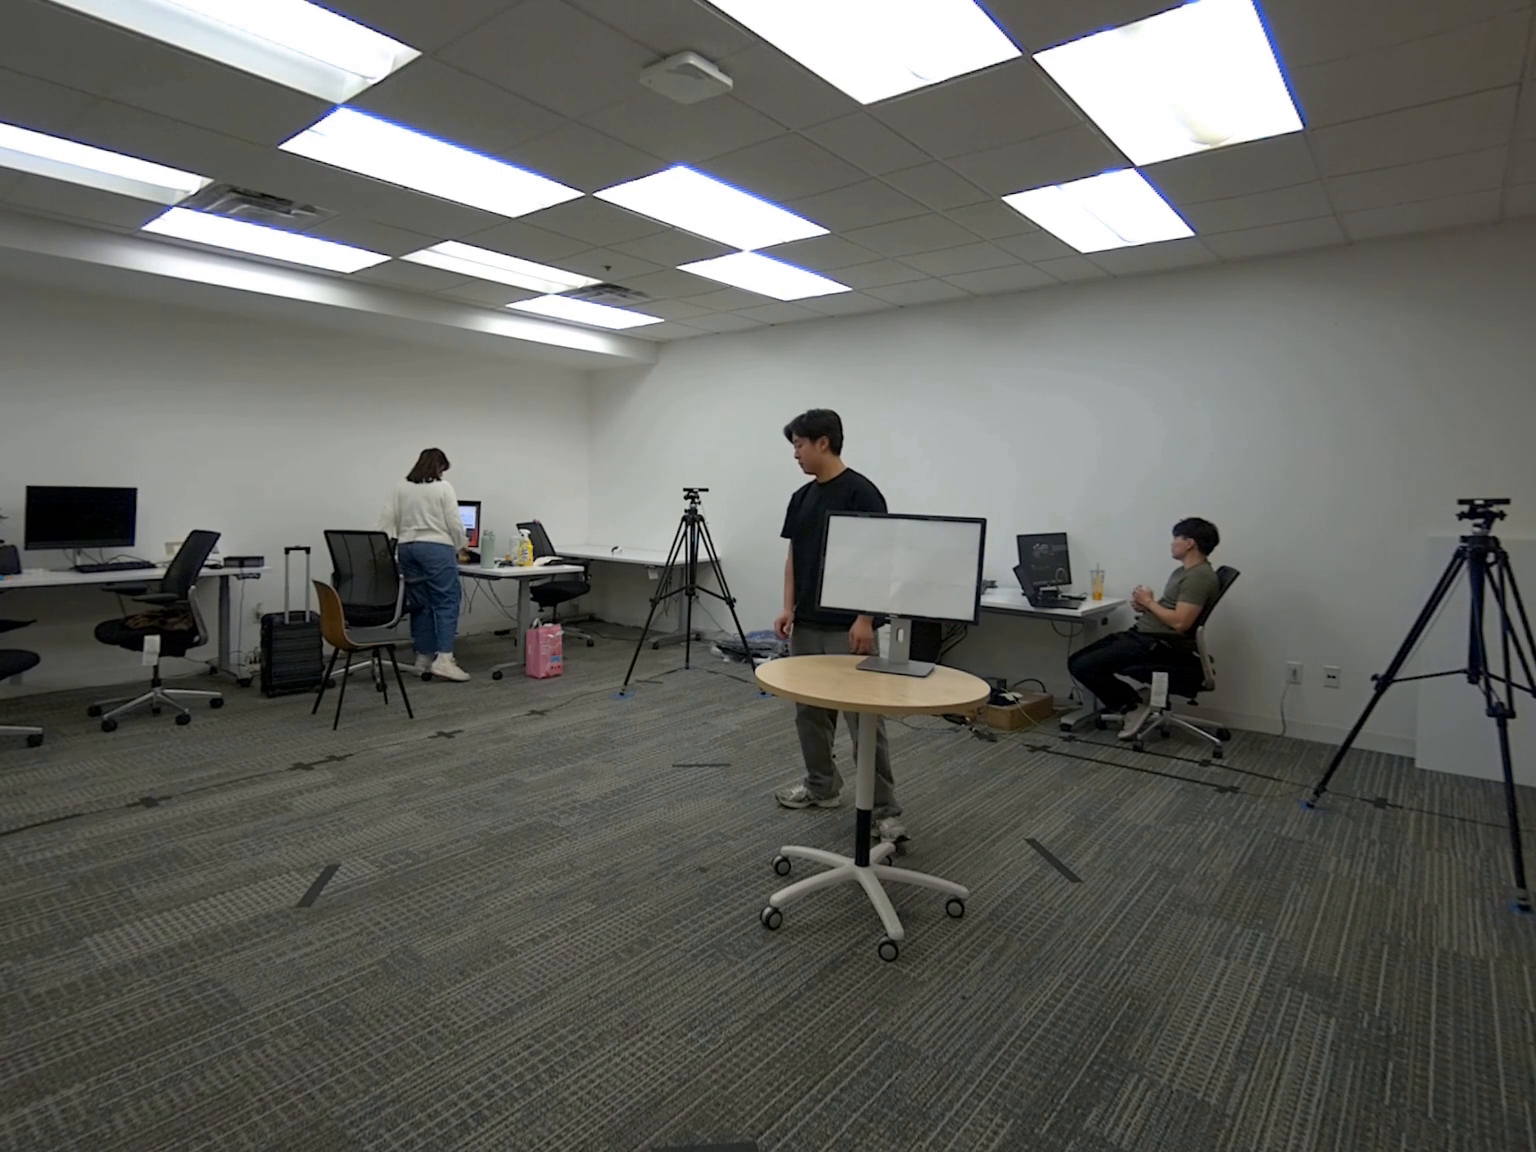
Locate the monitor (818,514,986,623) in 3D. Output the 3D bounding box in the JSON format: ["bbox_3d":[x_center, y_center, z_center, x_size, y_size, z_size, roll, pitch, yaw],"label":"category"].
[{"bbox_3d":[0.452,0.062,2.975,0.576,0.563,0.217,4,5,25],"label":"monitor"}]
